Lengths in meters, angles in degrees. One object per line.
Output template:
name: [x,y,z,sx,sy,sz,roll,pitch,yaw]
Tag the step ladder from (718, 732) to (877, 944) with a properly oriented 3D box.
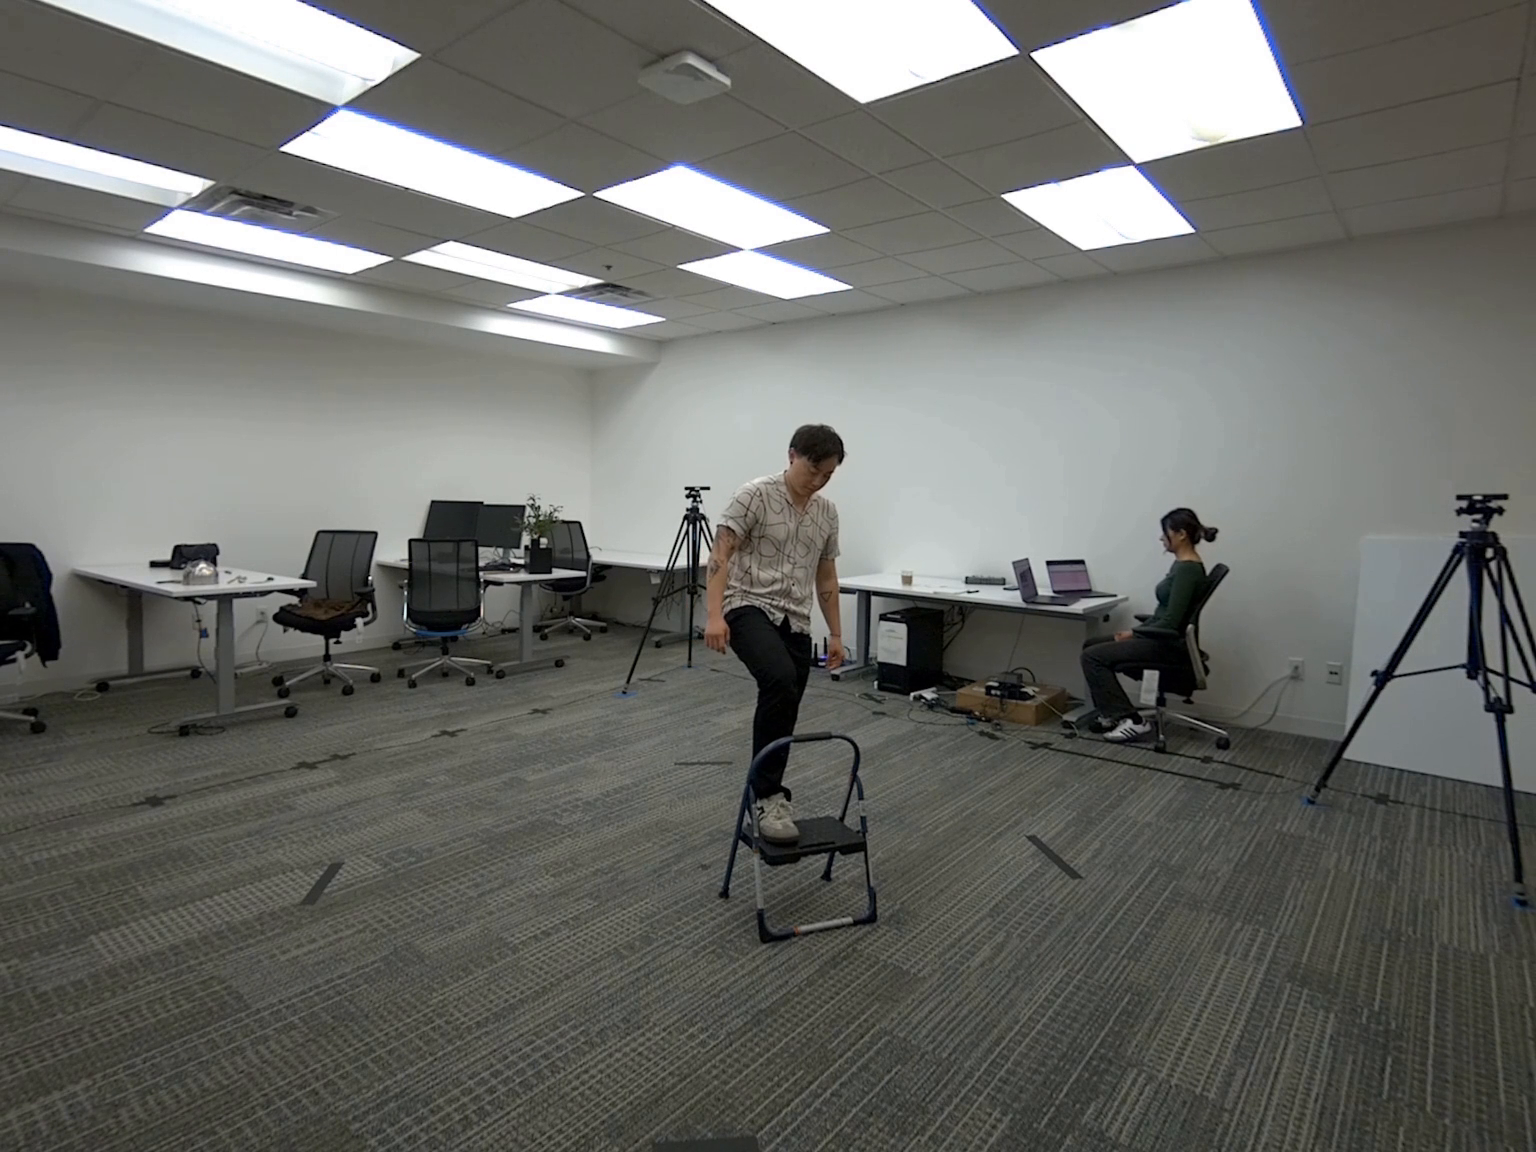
step ladder: [0.095,0.797,2.811,0.421,0.604,0.358,0,4,-24]
